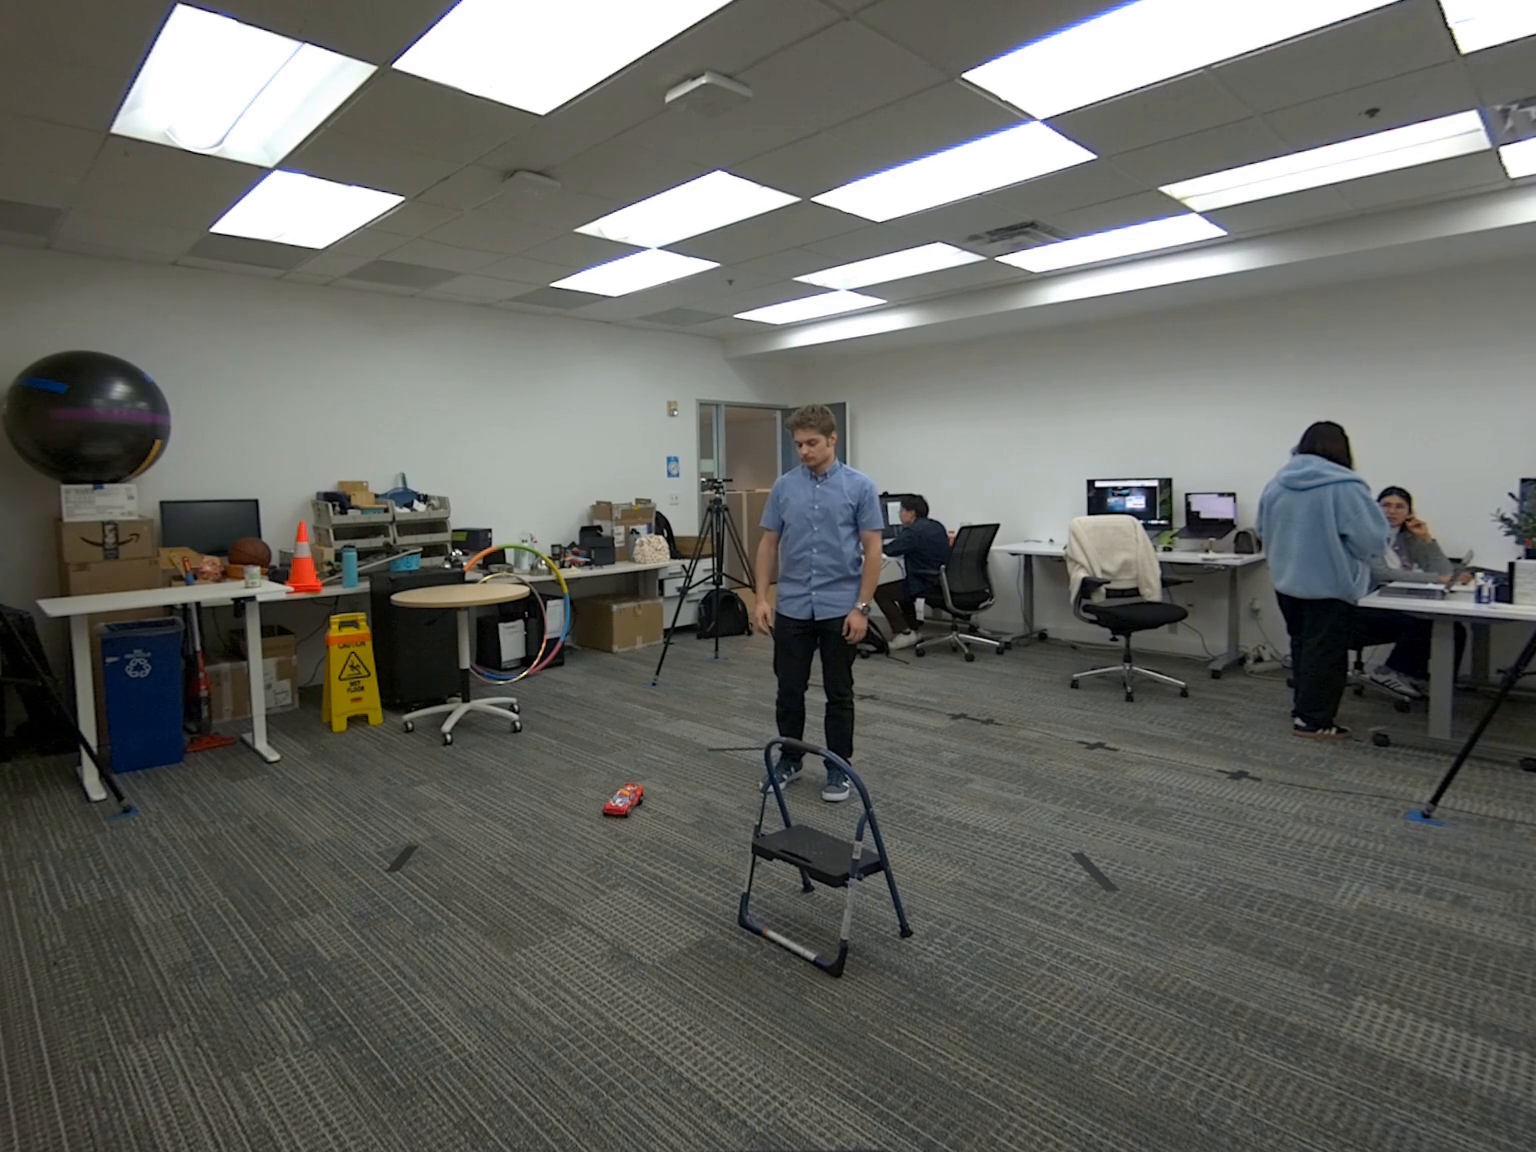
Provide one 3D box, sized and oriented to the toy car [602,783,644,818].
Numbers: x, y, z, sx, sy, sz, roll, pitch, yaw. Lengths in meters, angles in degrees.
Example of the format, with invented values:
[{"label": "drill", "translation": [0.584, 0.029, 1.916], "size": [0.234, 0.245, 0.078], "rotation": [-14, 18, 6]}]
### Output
[{"label": "toy car", "translation": [-0.613, 0.960, 3.667], "size": [0.132, 0.082, 0.255], "rotation": [0, 17, 12]}]
